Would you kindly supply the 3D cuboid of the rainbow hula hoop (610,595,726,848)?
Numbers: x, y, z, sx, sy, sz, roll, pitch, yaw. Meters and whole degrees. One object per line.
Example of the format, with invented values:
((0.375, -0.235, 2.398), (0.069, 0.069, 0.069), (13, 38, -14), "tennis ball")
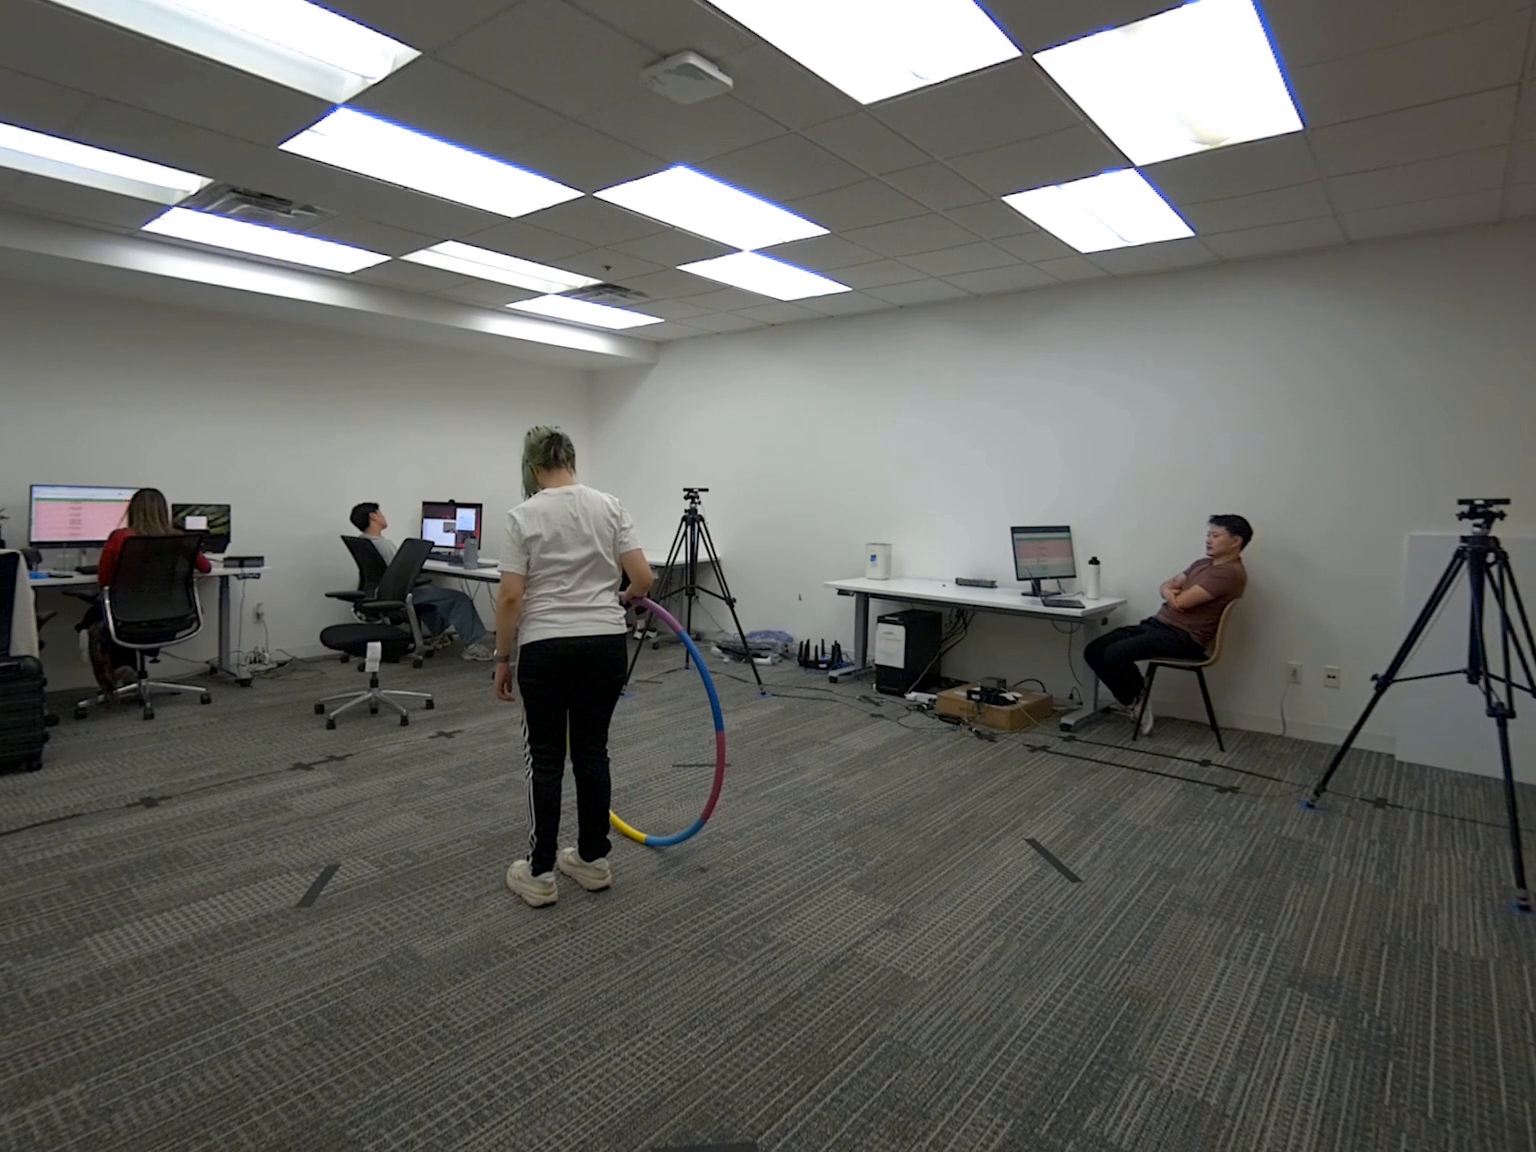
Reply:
((-0.534, 0.550, 3.309), (1.012, 0.972, 0.034), (5, 9, 43), "rainbow hula hoop")
